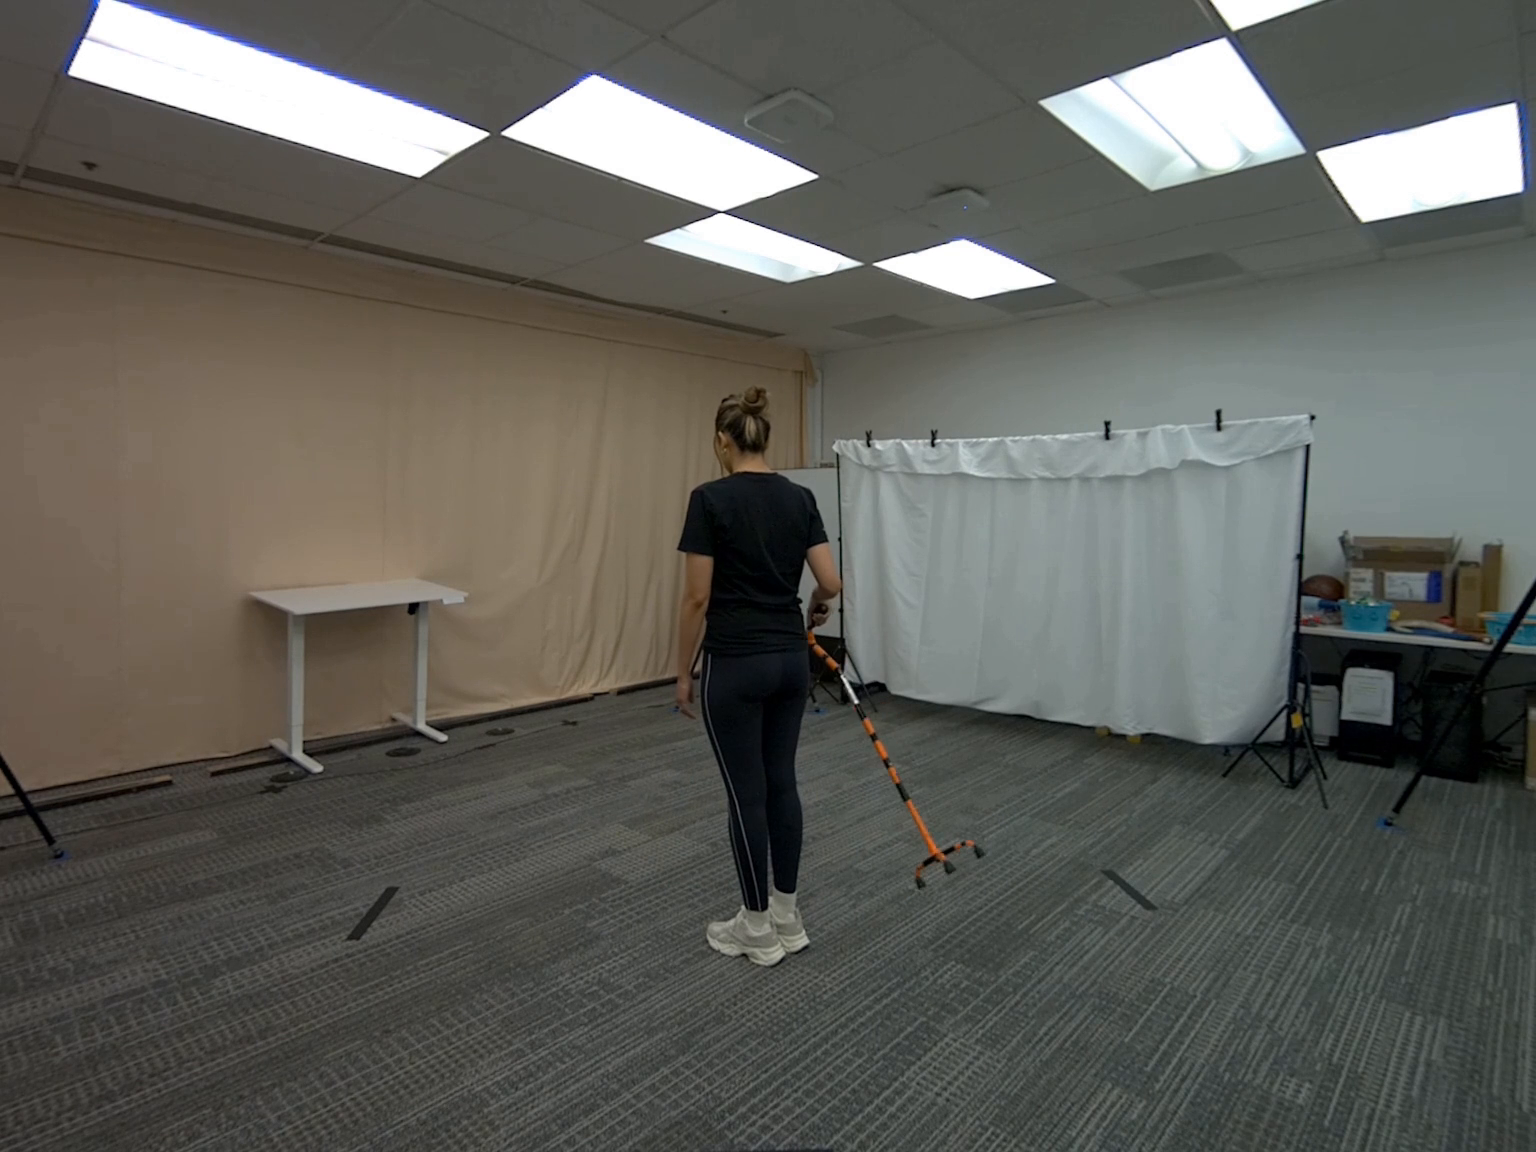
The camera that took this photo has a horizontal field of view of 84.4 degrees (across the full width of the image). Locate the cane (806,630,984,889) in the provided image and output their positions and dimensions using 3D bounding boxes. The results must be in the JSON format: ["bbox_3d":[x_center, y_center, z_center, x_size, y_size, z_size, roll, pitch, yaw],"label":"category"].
[{"bbox_3d":[0.355,0.526,2.722,0.148,0.930,0.206,-13,-28,-29],"label":"cane"}]
